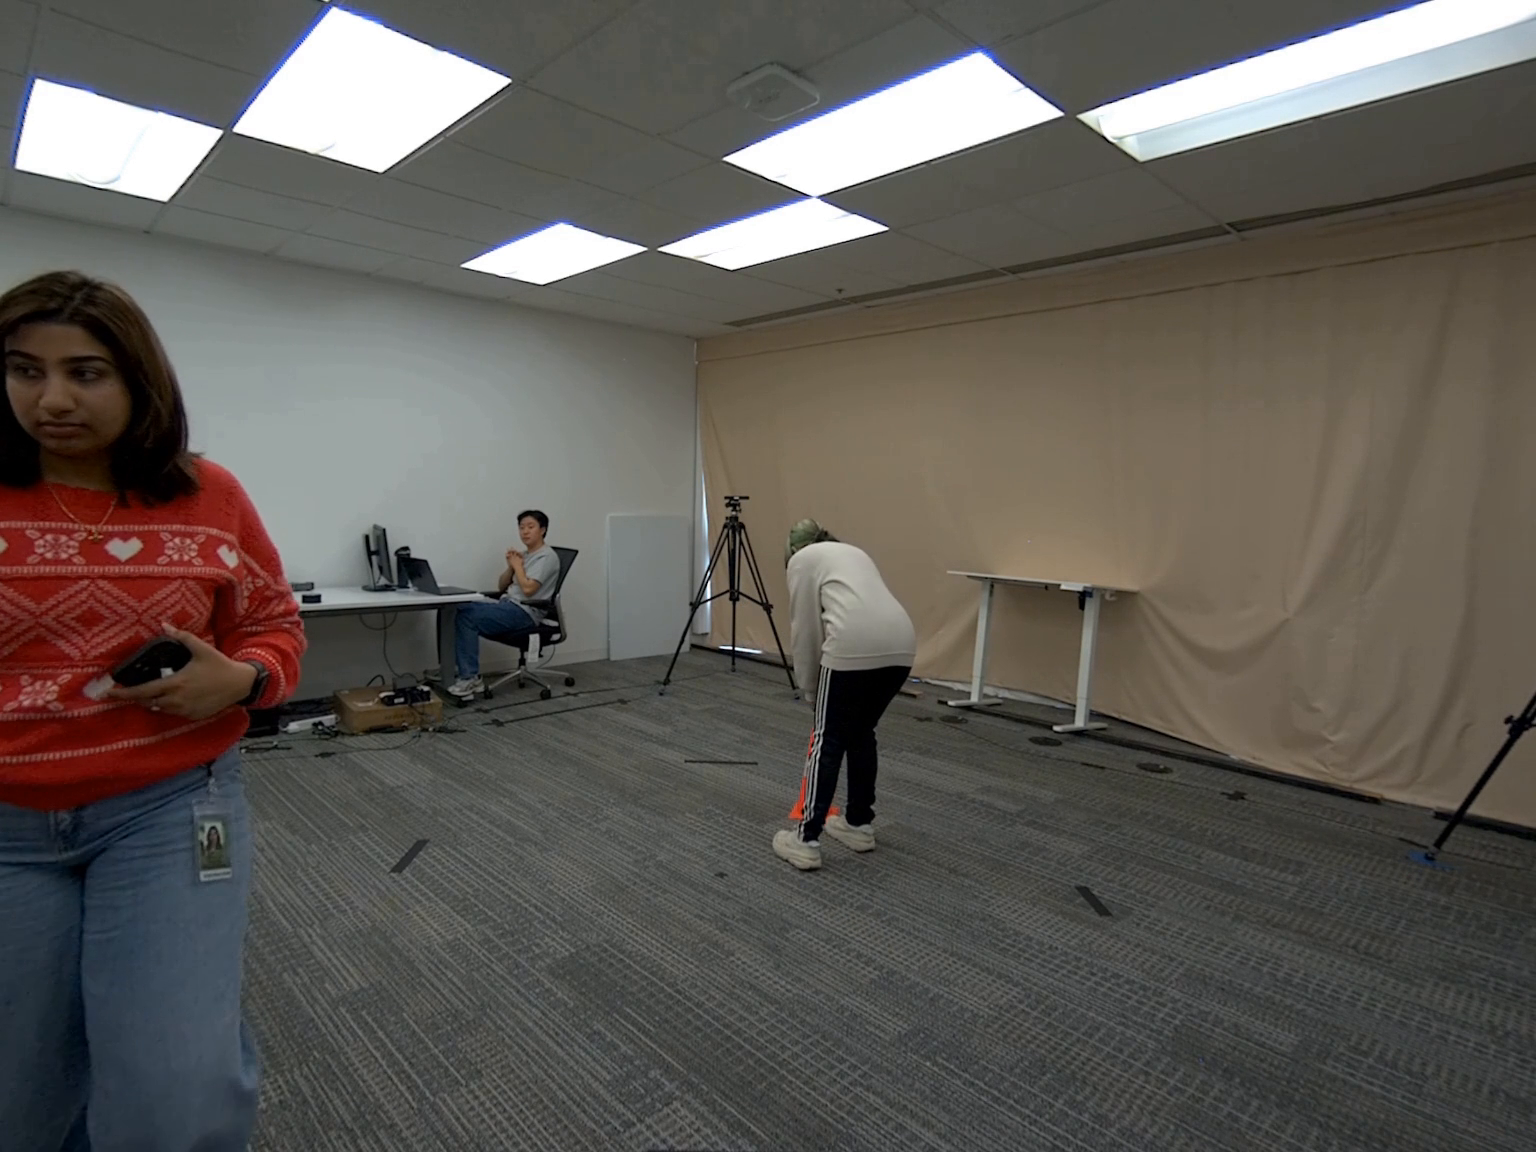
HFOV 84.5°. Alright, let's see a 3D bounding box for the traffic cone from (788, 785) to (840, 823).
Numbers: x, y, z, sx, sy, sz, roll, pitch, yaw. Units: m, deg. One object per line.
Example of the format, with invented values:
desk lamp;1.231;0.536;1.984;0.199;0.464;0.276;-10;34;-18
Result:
traffic cone;0.201;0.871;3.757;0.205;0.383;0.203;3;3;11
